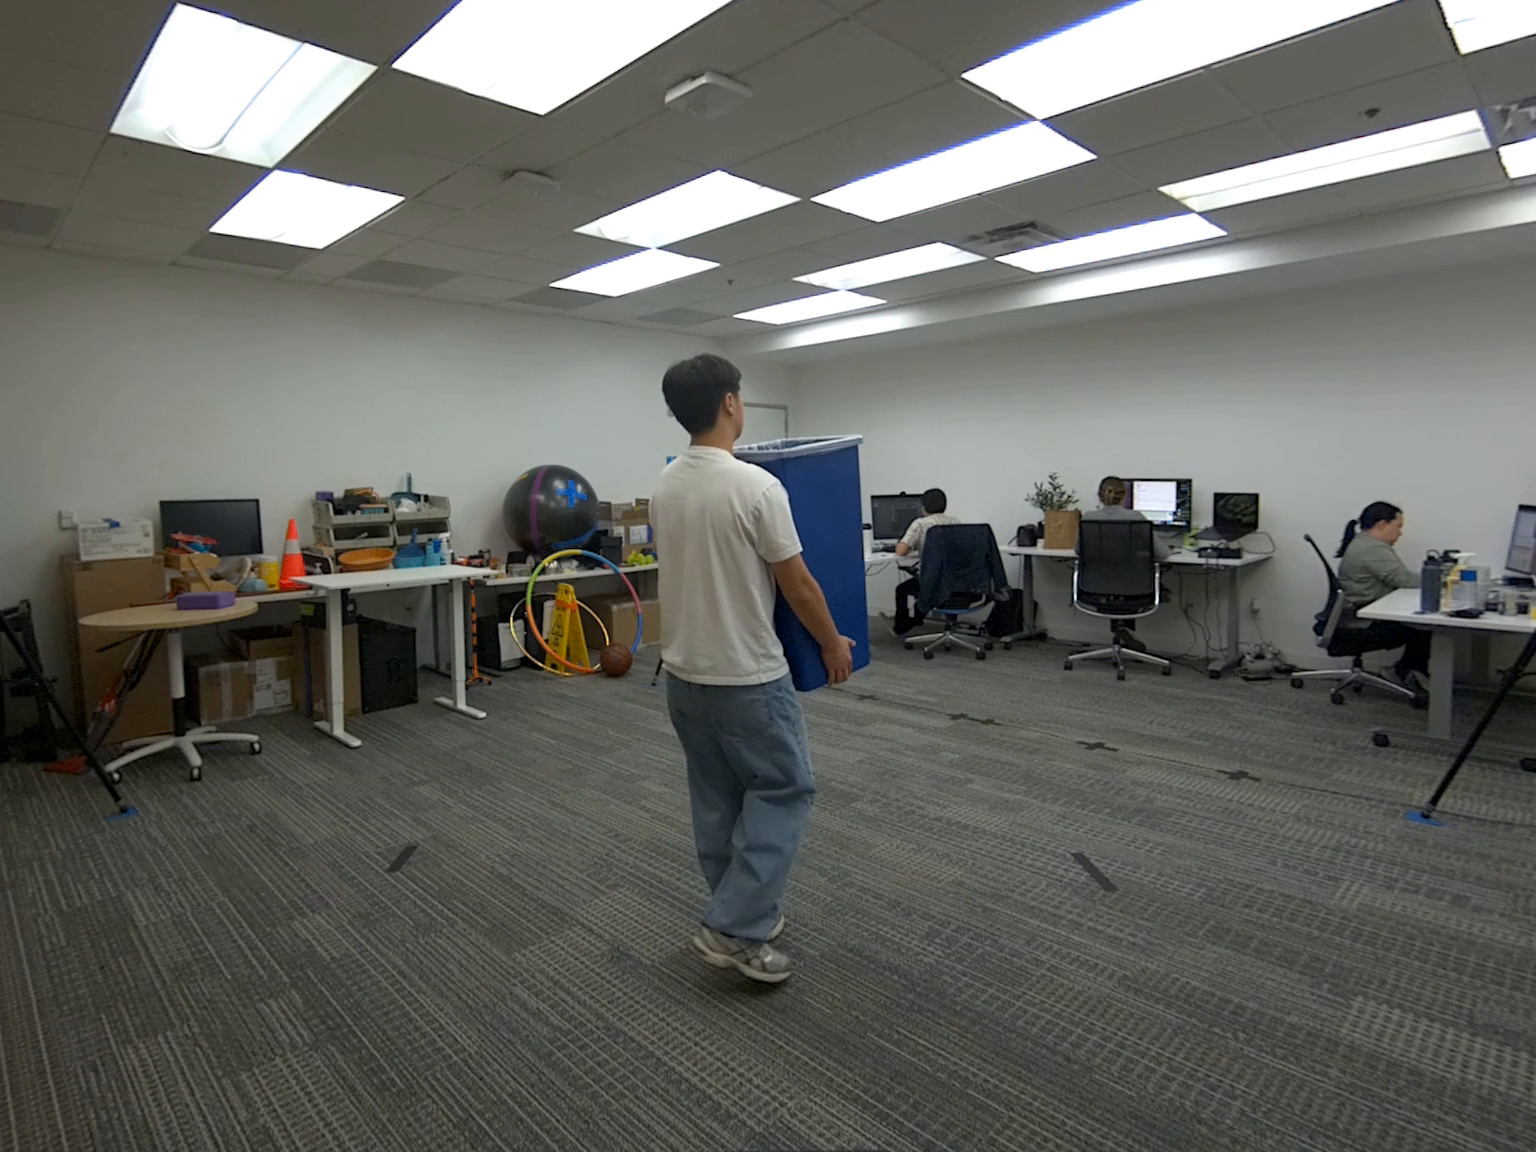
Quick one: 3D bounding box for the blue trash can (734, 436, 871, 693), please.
[{"bbox_3d":[0.094,-0.056,2.631,0.370,0.706,0.385,-16,13,-43],"label":"blue trash can"}]
